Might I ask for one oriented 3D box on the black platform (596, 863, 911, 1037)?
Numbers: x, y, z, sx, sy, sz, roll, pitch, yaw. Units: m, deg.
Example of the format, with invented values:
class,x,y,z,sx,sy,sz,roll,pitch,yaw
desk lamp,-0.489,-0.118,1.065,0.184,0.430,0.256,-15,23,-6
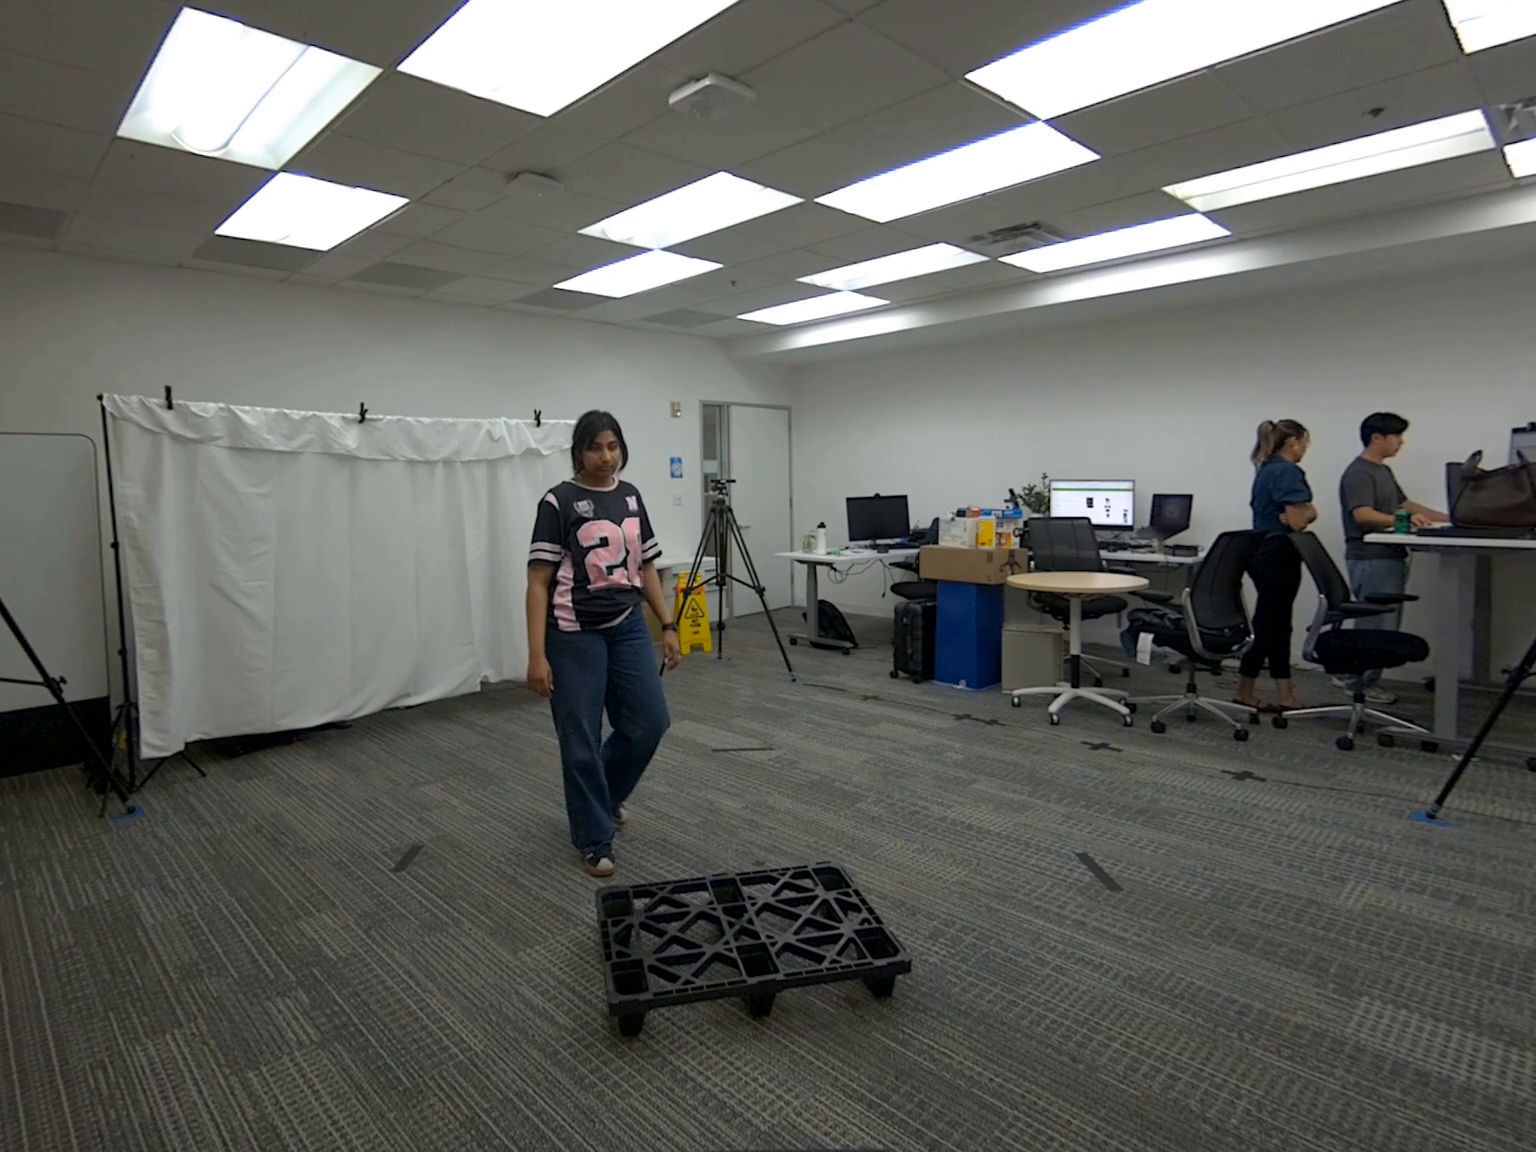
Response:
class,x,y,z,sx,sy,sz,roll,pitch,yaw
black platform,-0.076,1.059,2.455,0.796,0.143,0.615,-2,6,-13
